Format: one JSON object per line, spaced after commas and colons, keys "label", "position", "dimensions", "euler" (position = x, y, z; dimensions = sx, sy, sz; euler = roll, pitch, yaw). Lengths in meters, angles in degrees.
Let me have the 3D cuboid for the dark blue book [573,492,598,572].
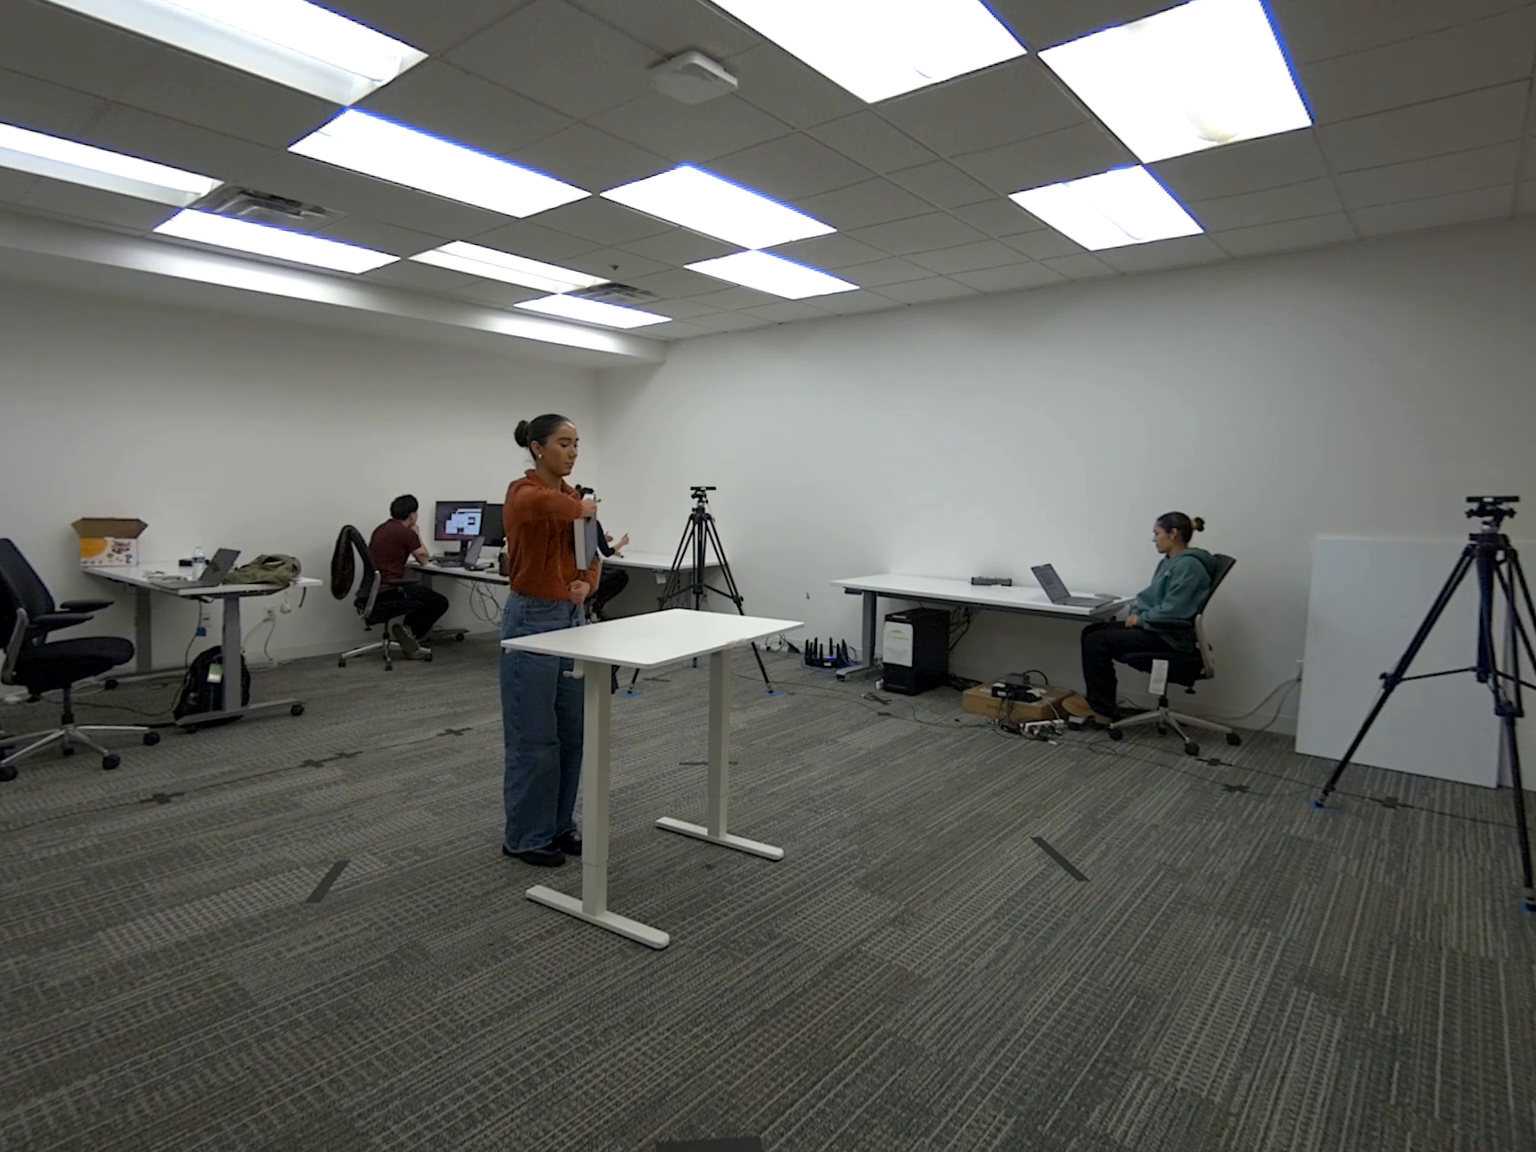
{"label": "dark blue book", "position": [-0.693, -0.162, 3.143], "dimensions": [0.045, 0.239, 0.167], "euler": [4, 36, 1]}
